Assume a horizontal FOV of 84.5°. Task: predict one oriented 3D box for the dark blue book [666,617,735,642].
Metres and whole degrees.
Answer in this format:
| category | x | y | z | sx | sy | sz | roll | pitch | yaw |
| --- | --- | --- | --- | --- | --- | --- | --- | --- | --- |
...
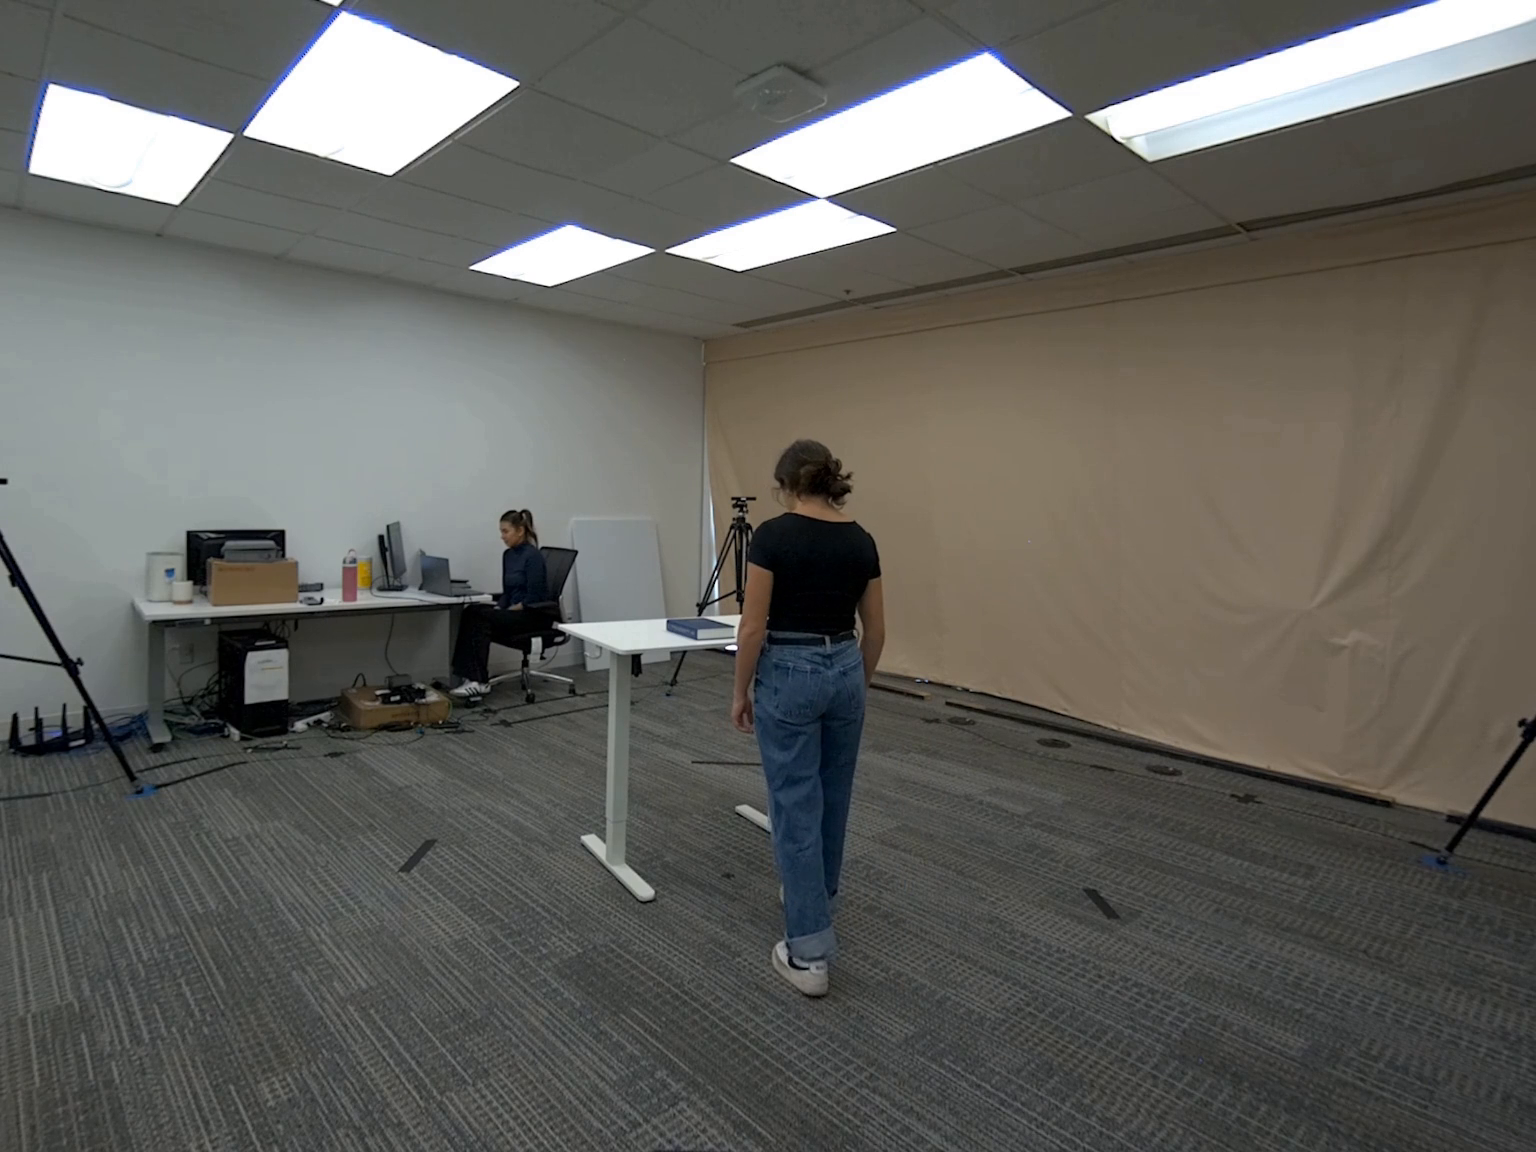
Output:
| category | x | y | z | sx | sy | sz | roll | pitch | yaw |
| --- | --- | --- | --- | --- | --- | --- | --- | --- | --- |
| dark blue book | -0.258 | 0.200 | 3.134 | 0.160 | 0.045 | 0.251 | -2 | 6 | -32 |
